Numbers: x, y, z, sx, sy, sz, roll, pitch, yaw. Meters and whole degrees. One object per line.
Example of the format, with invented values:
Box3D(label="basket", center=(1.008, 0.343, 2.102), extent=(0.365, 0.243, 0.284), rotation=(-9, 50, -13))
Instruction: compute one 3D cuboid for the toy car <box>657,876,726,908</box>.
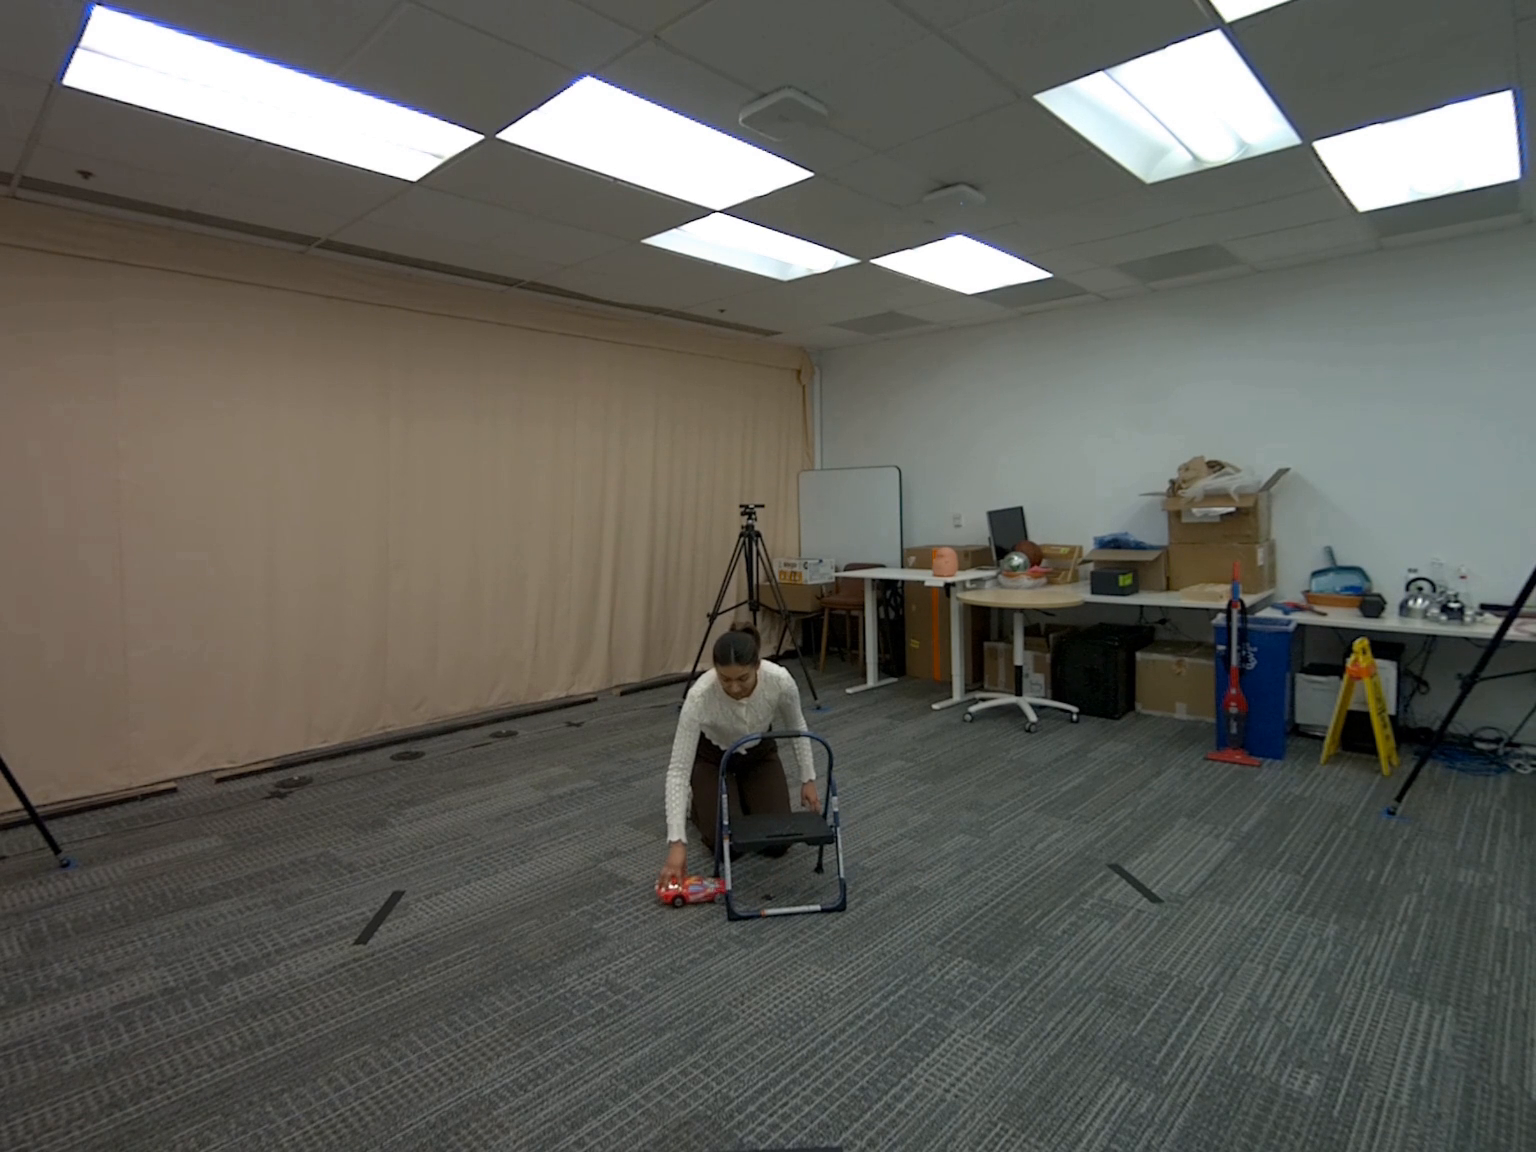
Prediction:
Box3D(label="toy car", center=(-0.258, 1.118, 2.983), extent=(0.252, 0.083, 0.132), rotation=(2, 4, -9))
